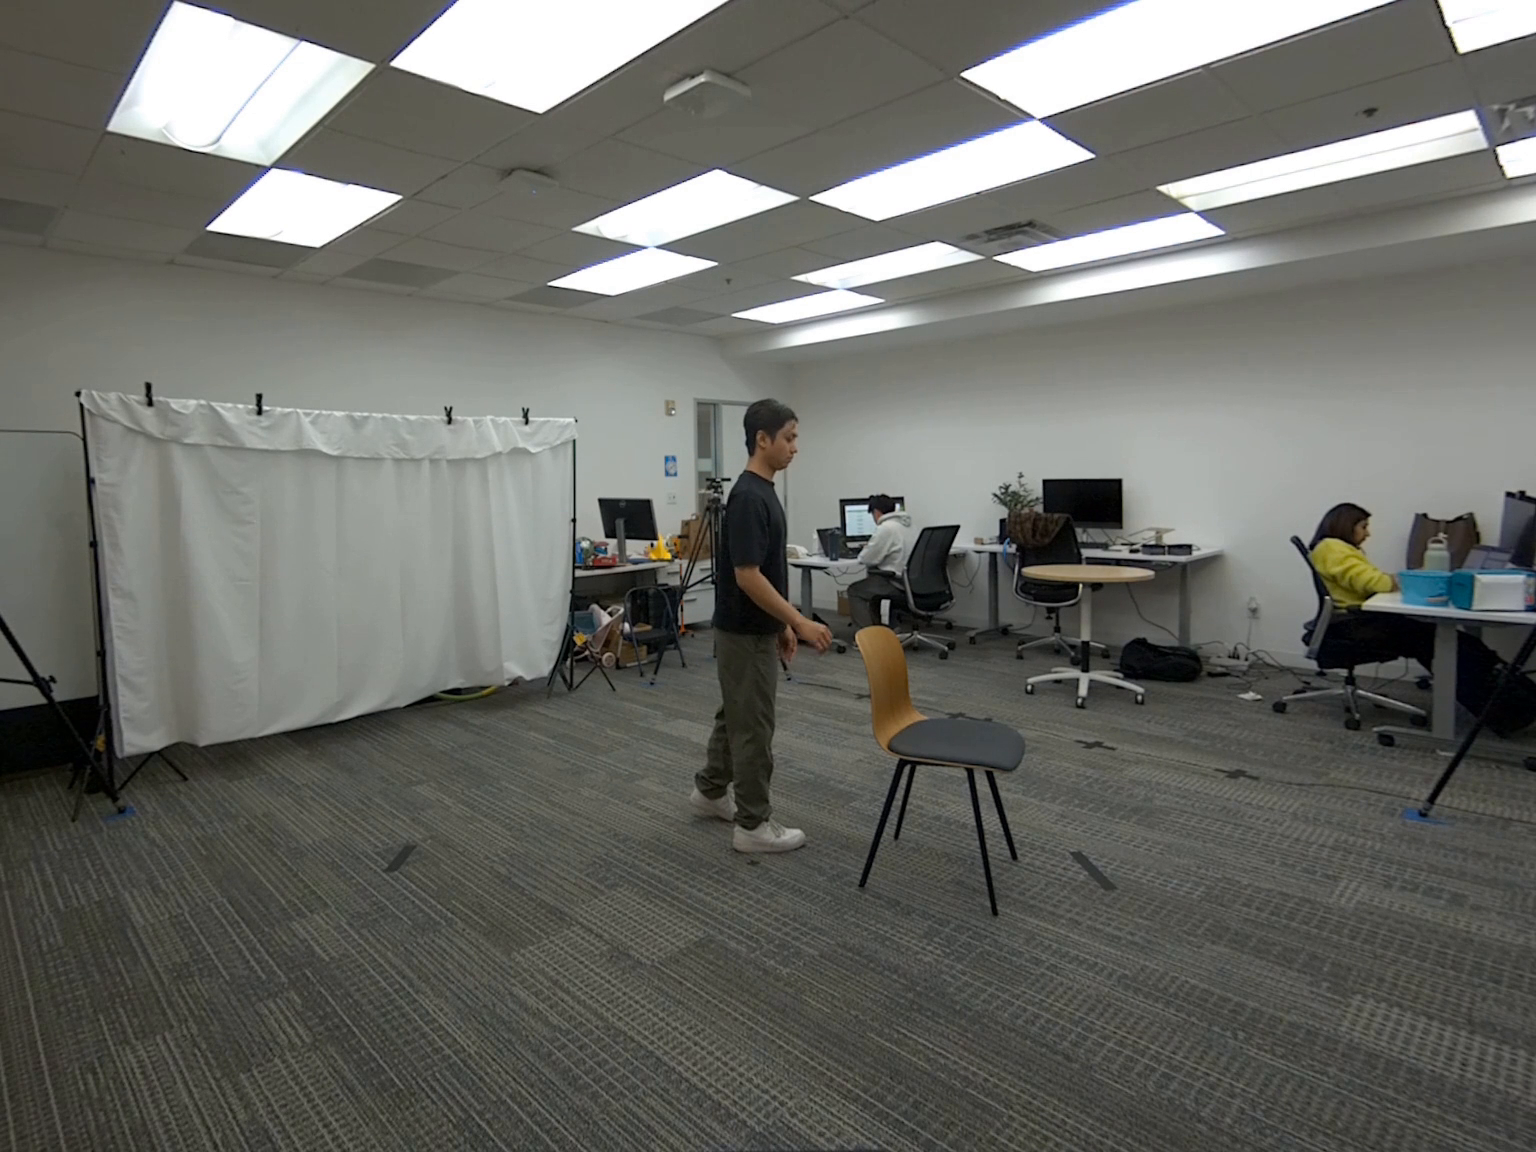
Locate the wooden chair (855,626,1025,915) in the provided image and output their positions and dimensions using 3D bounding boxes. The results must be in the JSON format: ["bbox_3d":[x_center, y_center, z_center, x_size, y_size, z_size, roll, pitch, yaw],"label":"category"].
[{"bbox_3d":[0.608,0.616,2.966,0.534,0.876,0.468,-4,2,26],"label":"wooden chair"}]
